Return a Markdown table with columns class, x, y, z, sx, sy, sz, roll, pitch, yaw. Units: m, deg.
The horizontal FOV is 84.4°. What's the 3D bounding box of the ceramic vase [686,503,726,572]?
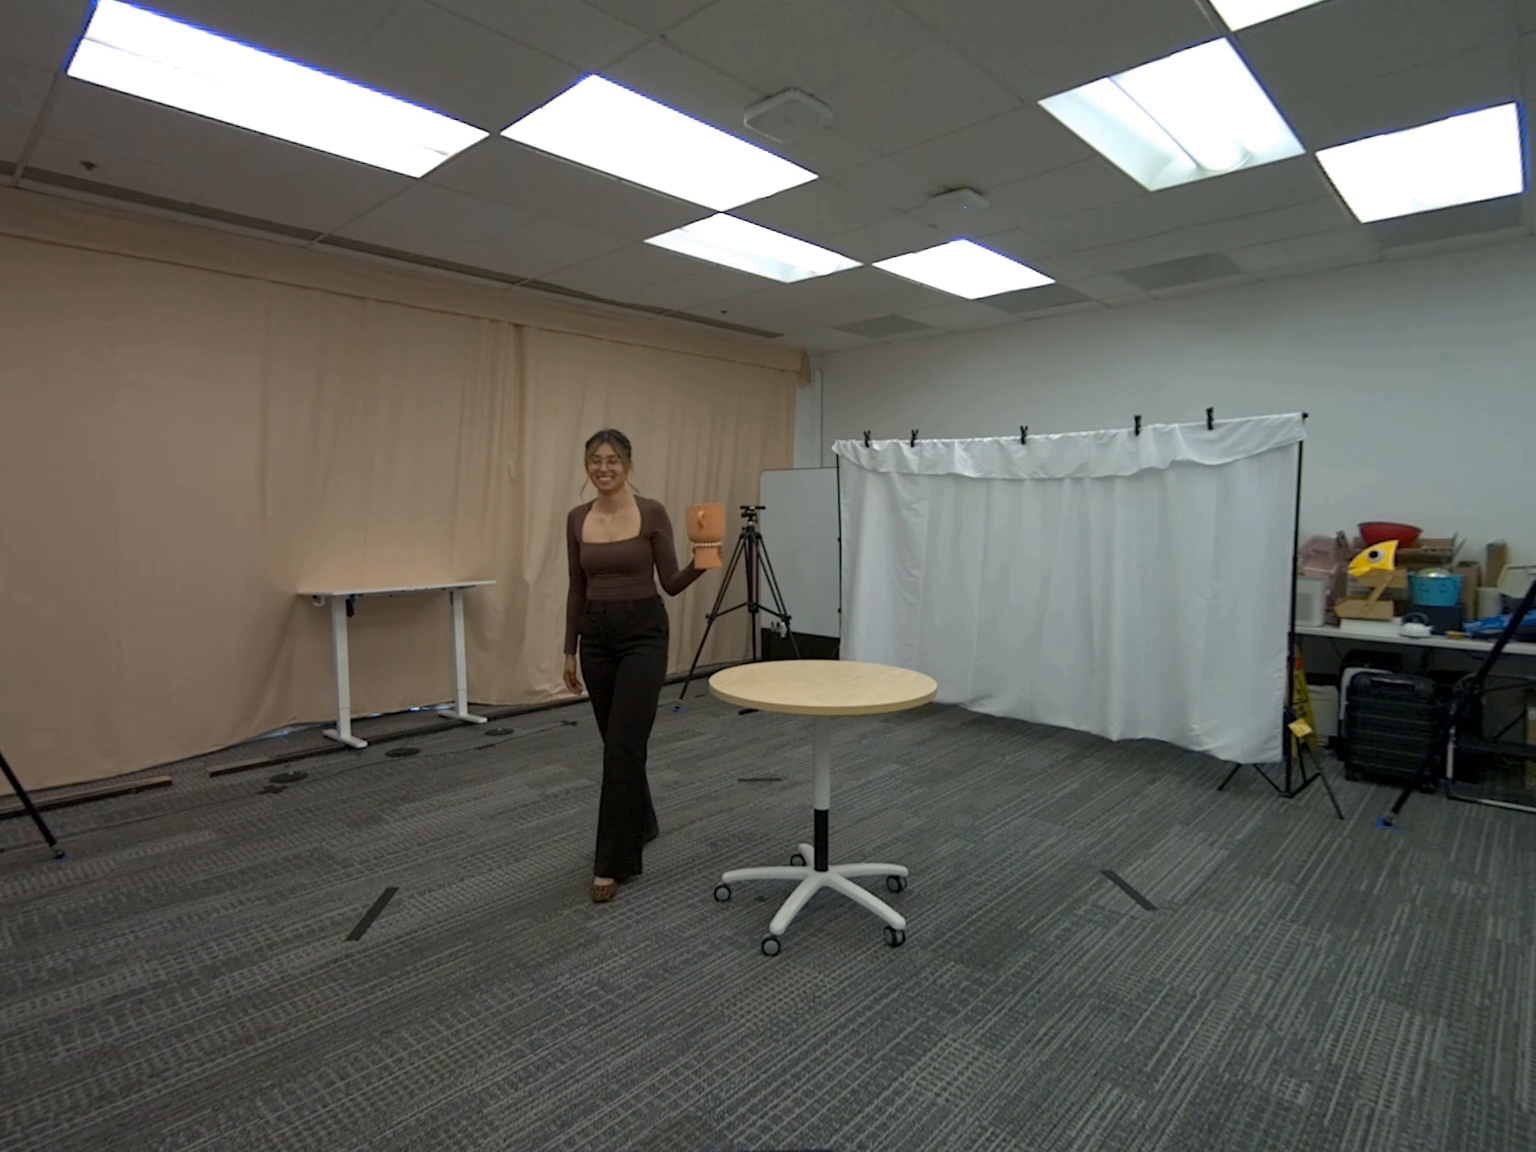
| class | x | y | z | sx | sy | sz | roll | pitch | yaw |
| --- | --- | --- | --- | --- | --- | --- | --- | --- | --- |
| ceramic vase | -0.213 | -0.142 | 2.946 | 0.154 | 0.219 | 0.139 | -6 | 5 | -43 |
